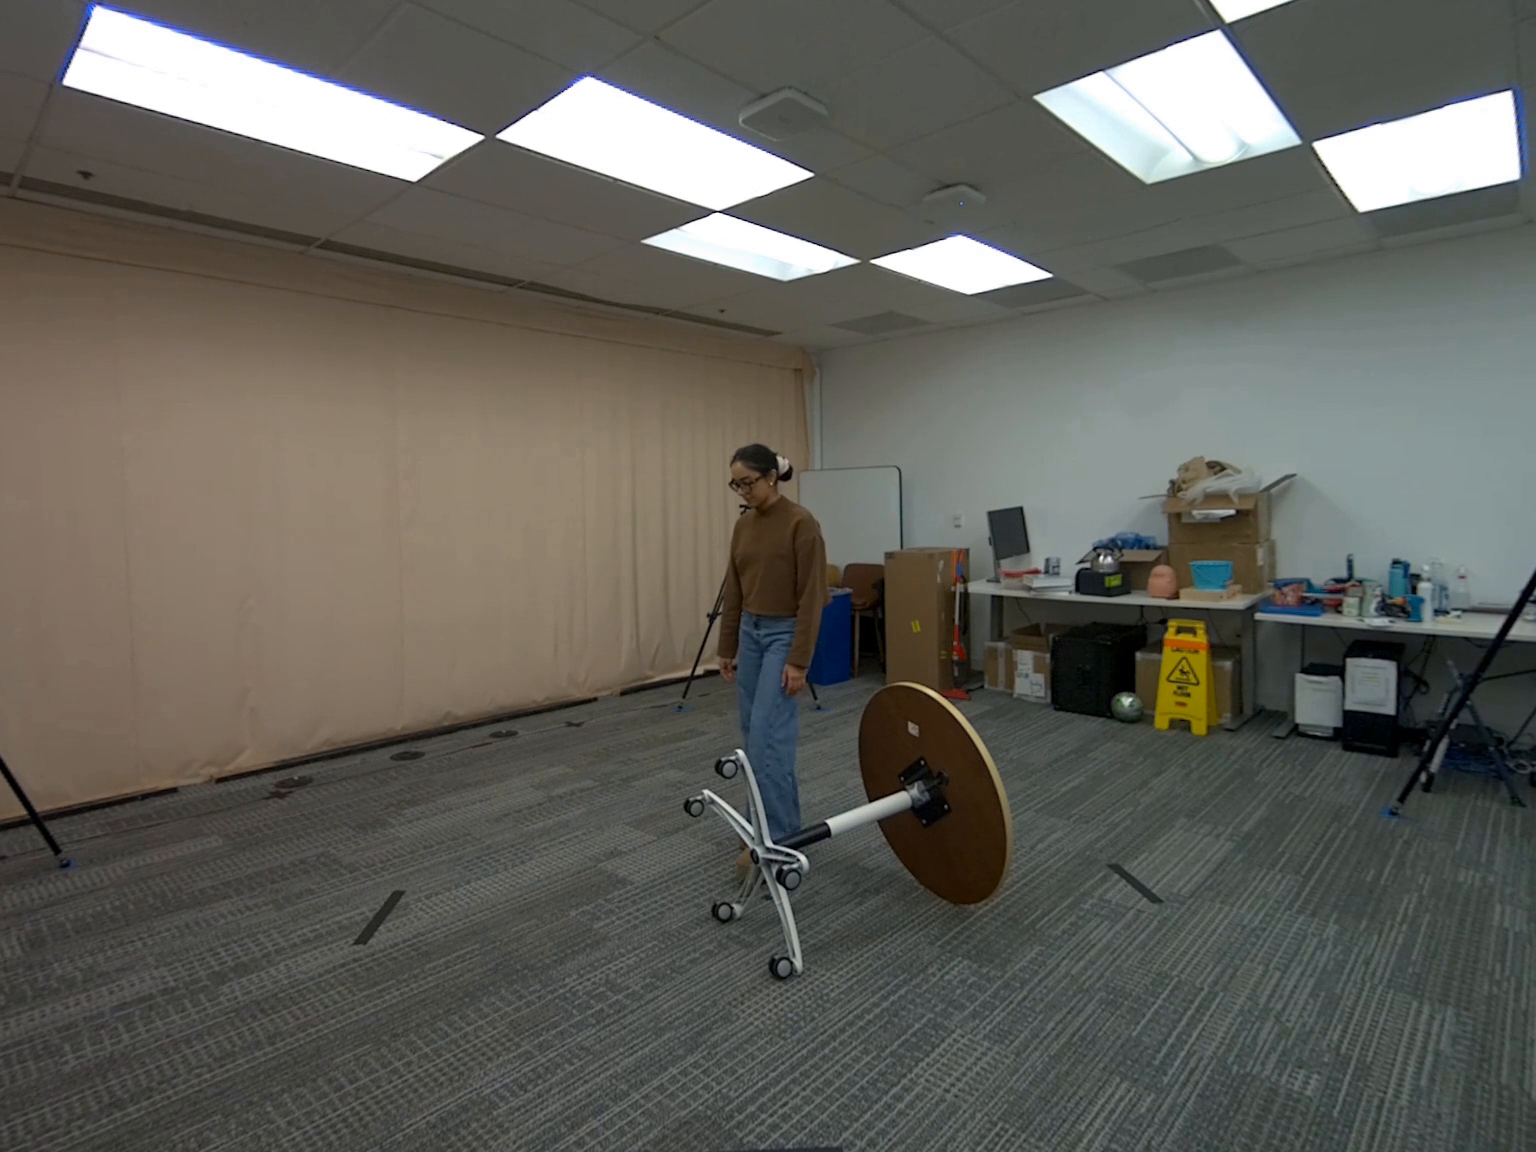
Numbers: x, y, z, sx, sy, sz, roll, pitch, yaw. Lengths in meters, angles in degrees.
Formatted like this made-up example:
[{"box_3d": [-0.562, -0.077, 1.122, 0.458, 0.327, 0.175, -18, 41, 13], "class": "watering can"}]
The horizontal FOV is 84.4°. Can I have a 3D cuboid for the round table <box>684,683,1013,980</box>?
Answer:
[{"box_3d": [0.233, 0.817, 2.774, 0.776, 0.760, 0.785, -12, 8, -27], "class": "round table"}]
